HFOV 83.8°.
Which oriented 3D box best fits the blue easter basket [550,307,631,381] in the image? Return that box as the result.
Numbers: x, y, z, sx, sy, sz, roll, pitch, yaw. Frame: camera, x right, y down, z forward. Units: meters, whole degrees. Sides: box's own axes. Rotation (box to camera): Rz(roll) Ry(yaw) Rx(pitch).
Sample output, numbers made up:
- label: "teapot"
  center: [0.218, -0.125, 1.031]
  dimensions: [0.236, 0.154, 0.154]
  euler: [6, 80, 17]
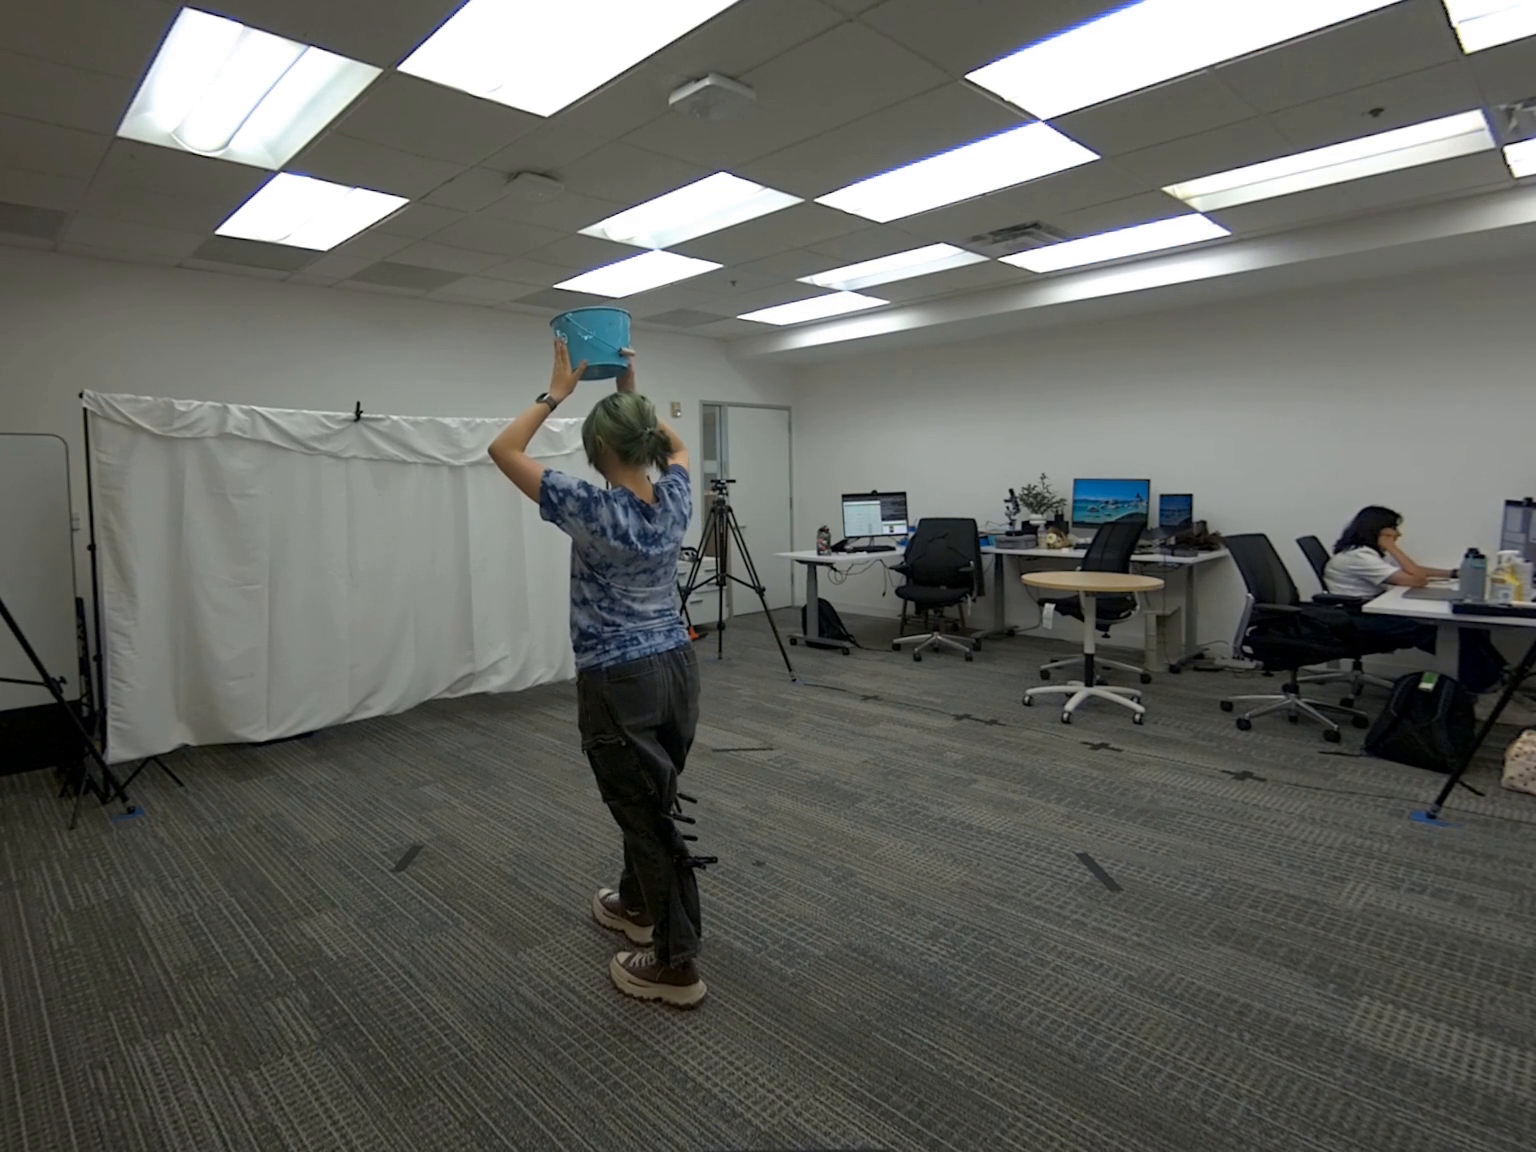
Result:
- label: "blue easter basket"
  center: [-0.496, -0.652, 2.410]
  dimensions: [0.243, 0.156, 0.243]
  euler: [-10, -1, -2]
